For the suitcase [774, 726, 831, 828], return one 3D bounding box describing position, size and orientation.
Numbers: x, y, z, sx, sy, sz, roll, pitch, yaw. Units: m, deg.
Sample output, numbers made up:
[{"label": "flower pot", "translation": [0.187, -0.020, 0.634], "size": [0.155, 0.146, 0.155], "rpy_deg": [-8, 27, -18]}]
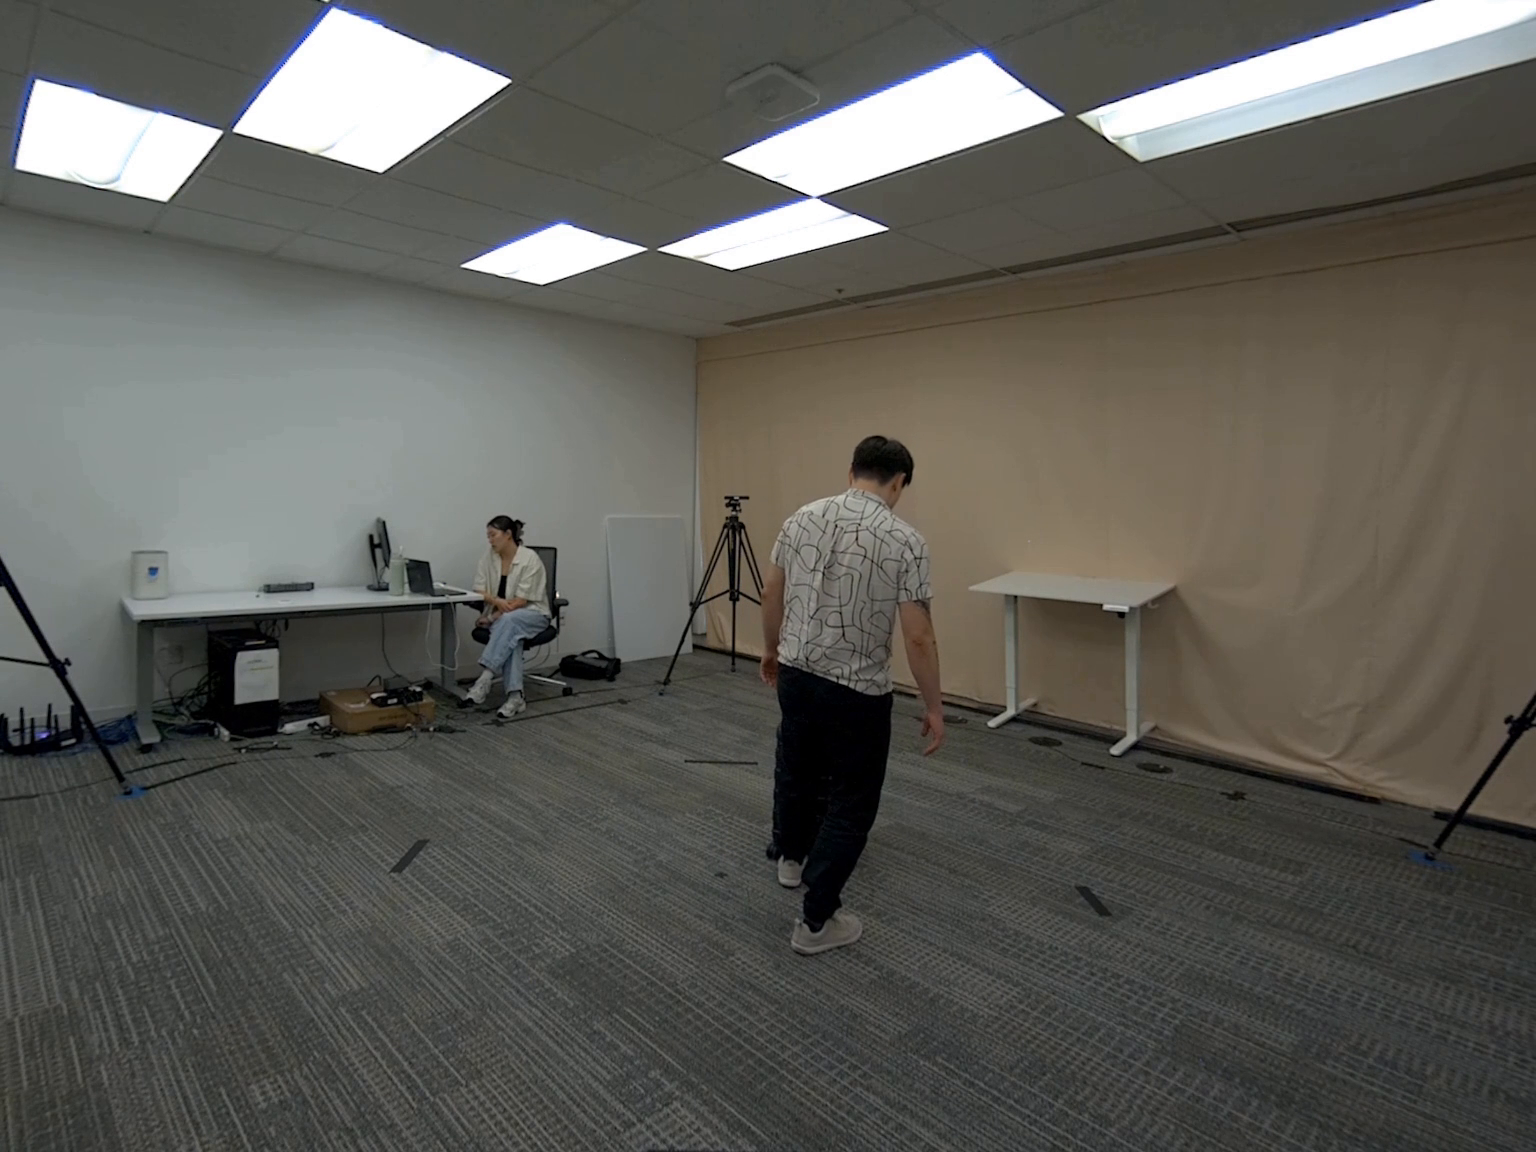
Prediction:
[{"label": "suitcase", "translation": [0.190, 0.817, 3.353], "size": [0.253, 0.548, 0.369], "rpy_deg": [4, 2, 23]}]
